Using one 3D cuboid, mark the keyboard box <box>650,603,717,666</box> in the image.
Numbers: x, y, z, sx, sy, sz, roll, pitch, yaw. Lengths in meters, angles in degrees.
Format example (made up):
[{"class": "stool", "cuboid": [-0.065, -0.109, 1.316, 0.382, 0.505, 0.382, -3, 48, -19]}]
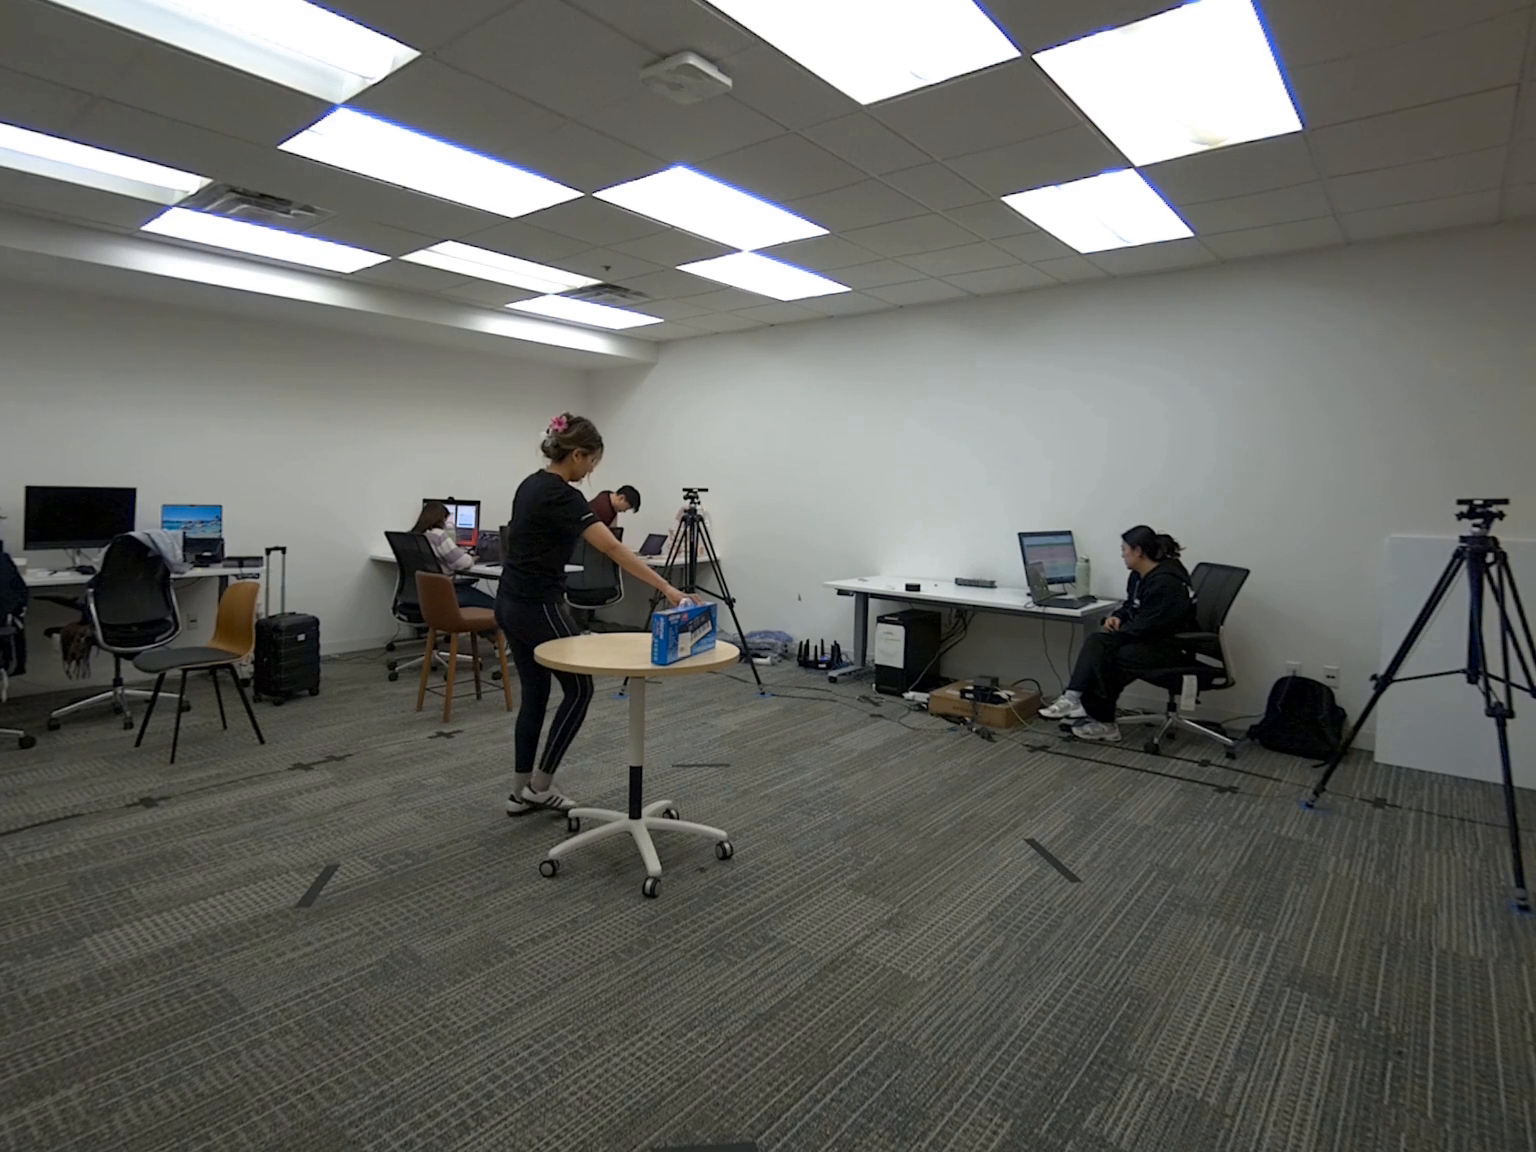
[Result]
[{"class": "keyboard box", "cuboid": [-0.305, 0.199, 3.073, 0.060, 0.175, 0.429, 1, 4, 19]}]
